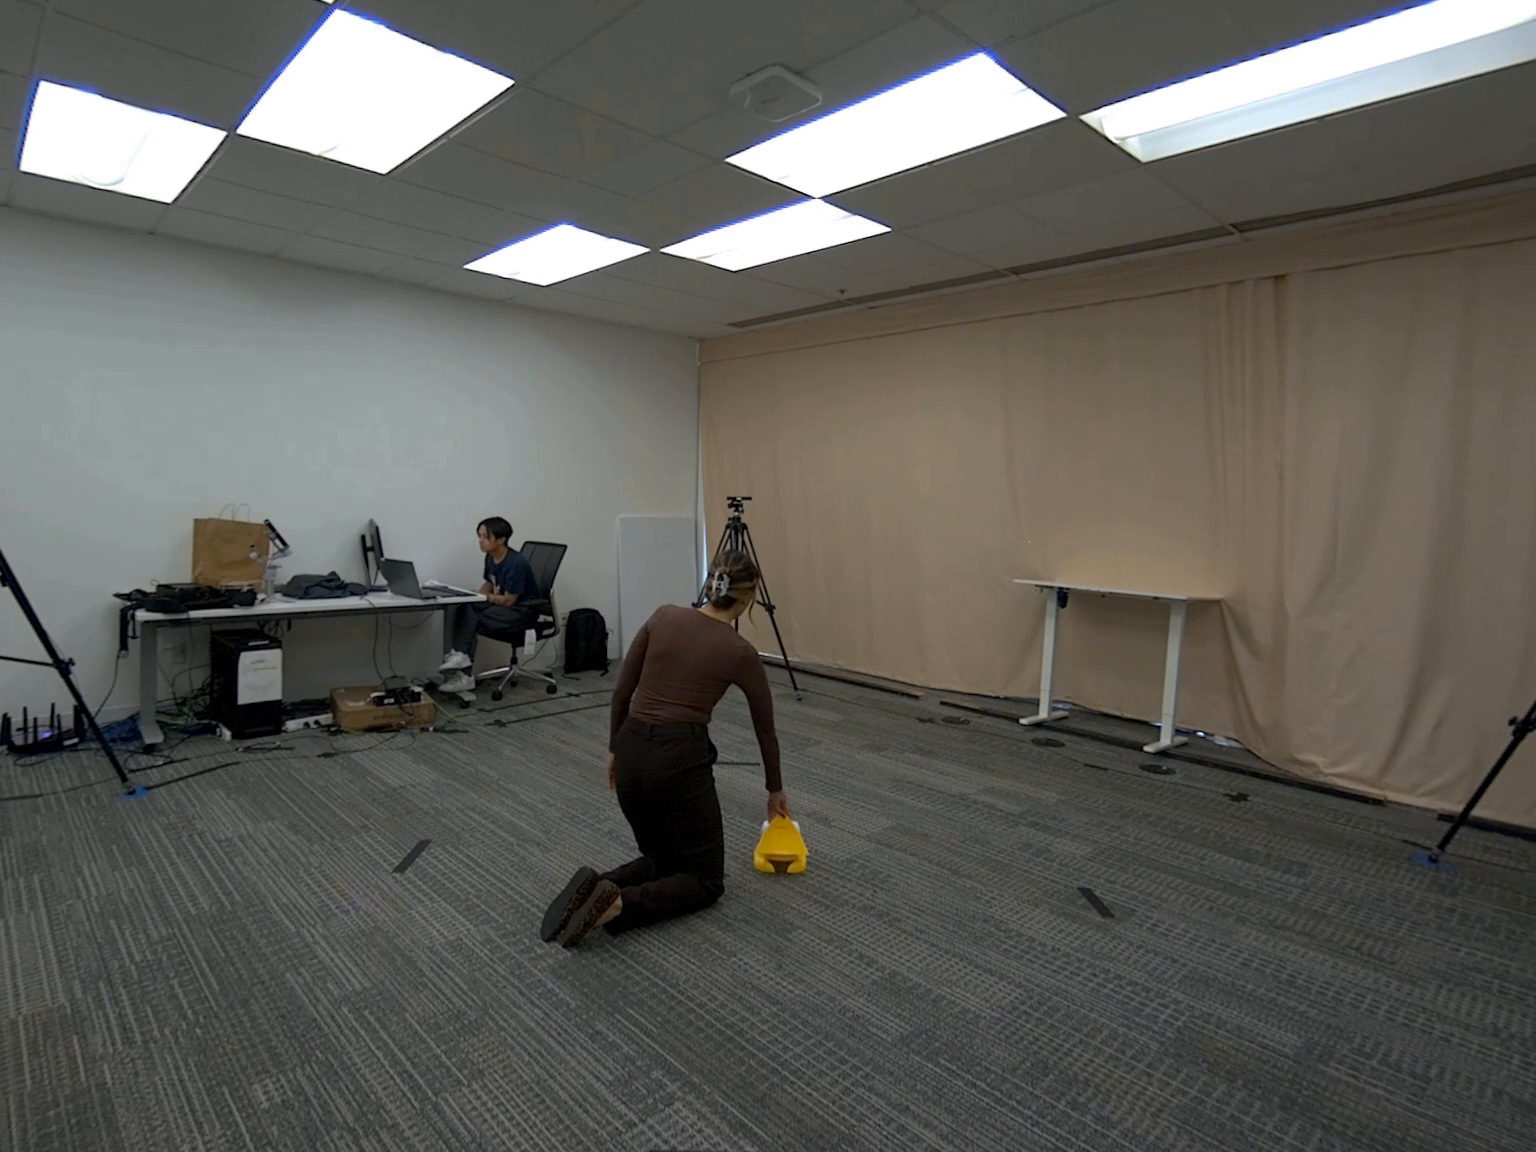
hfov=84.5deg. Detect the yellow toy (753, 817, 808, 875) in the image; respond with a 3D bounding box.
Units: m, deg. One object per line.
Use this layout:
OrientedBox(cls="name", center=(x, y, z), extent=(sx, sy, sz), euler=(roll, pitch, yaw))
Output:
OrientedBox(cls="yellow toy", center=(0.039, 0.987, 3.197), extent=(0.205, 0.230, 0.194), euler=(1, 5, 0))
